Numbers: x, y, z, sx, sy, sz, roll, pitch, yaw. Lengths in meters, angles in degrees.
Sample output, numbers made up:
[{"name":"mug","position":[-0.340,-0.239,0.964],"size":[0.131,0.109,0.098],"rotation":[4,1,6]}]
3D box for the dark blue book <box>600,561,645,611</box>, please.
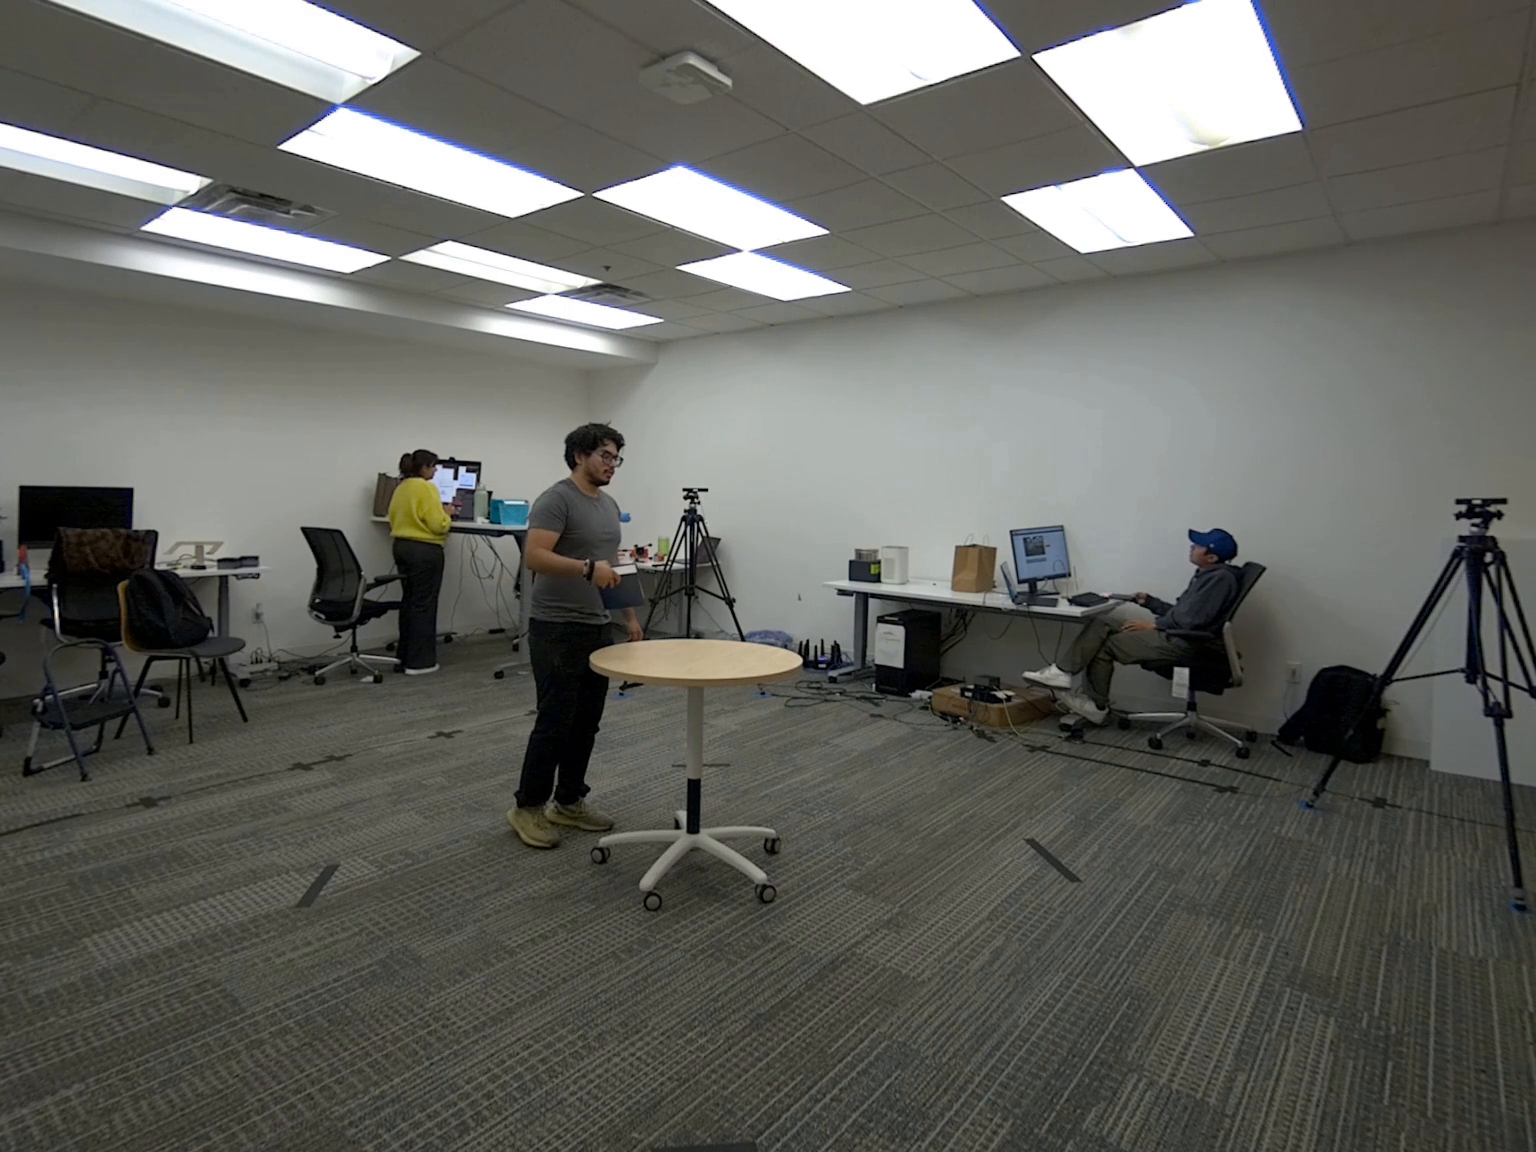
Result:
[{"name":"dark blue book","position":[-0.577,0.040,3.219],"size":[0.163,0.046,0.238],"rotation":[-8,-34,-2]}]
